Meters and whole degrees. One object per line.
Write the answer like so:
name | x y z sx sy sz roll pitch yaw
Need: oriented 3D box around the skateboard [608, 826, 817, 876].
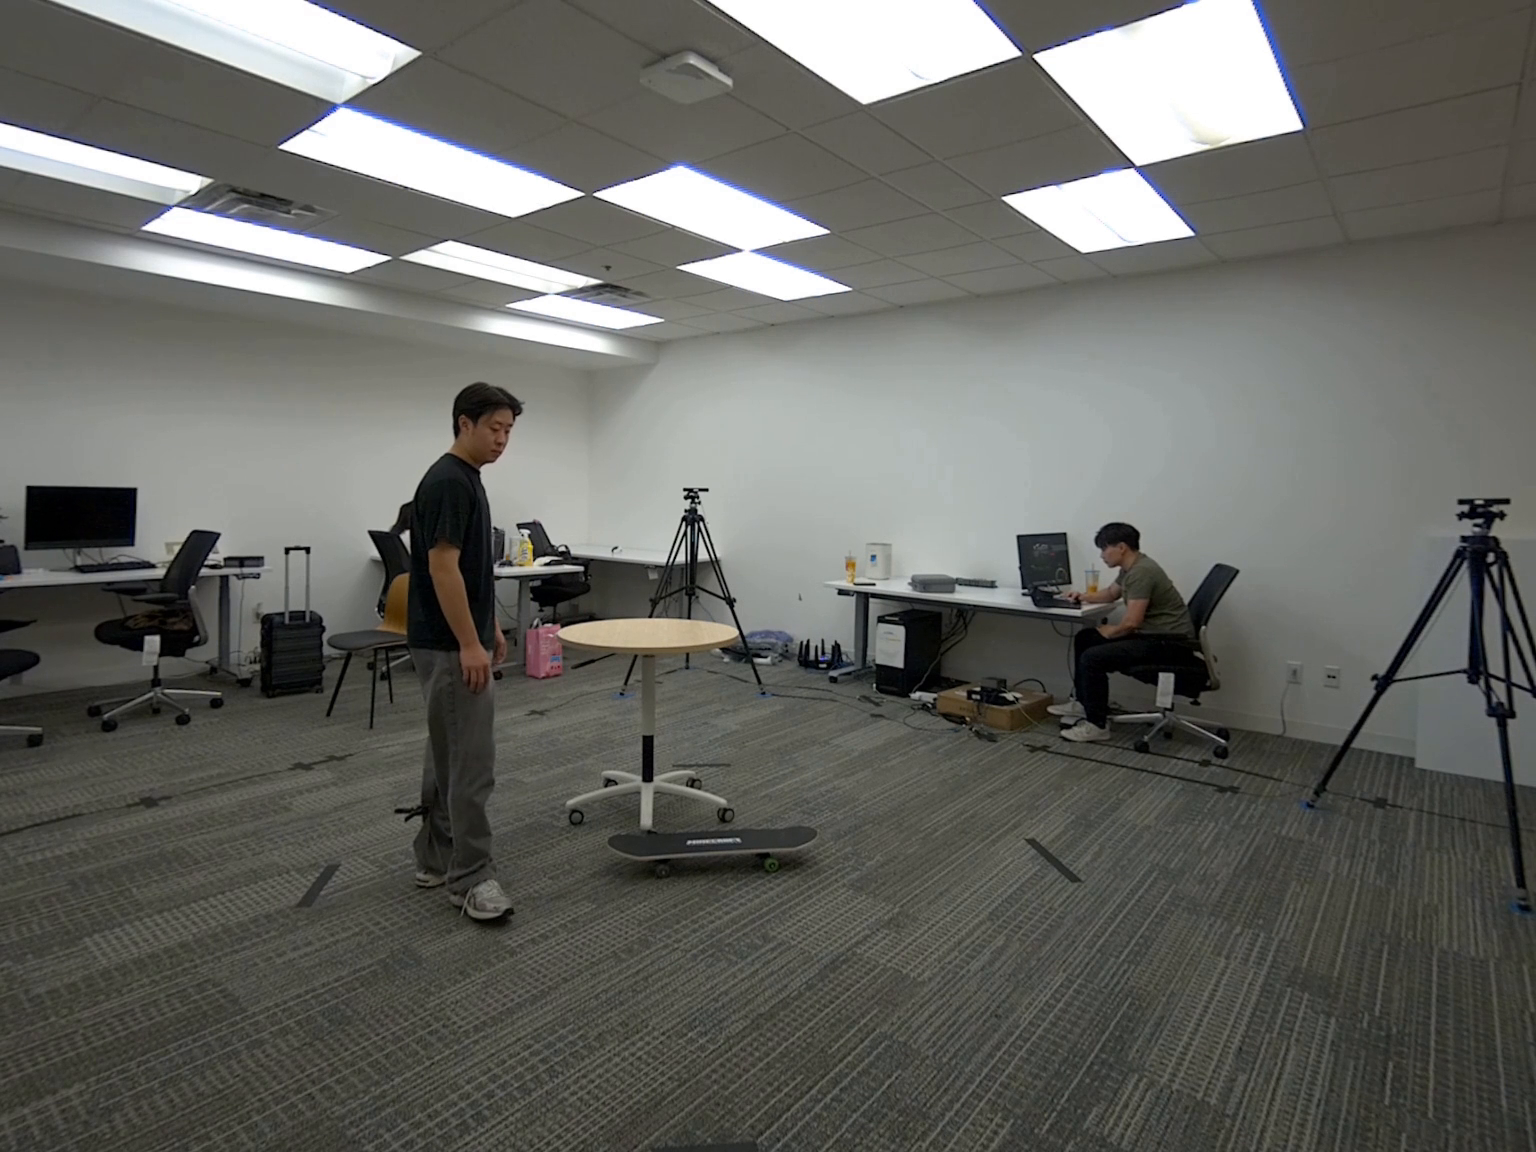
skateboard | -0.207 1.014 3.139 0.776 0.110 0.196 0 5 -11
